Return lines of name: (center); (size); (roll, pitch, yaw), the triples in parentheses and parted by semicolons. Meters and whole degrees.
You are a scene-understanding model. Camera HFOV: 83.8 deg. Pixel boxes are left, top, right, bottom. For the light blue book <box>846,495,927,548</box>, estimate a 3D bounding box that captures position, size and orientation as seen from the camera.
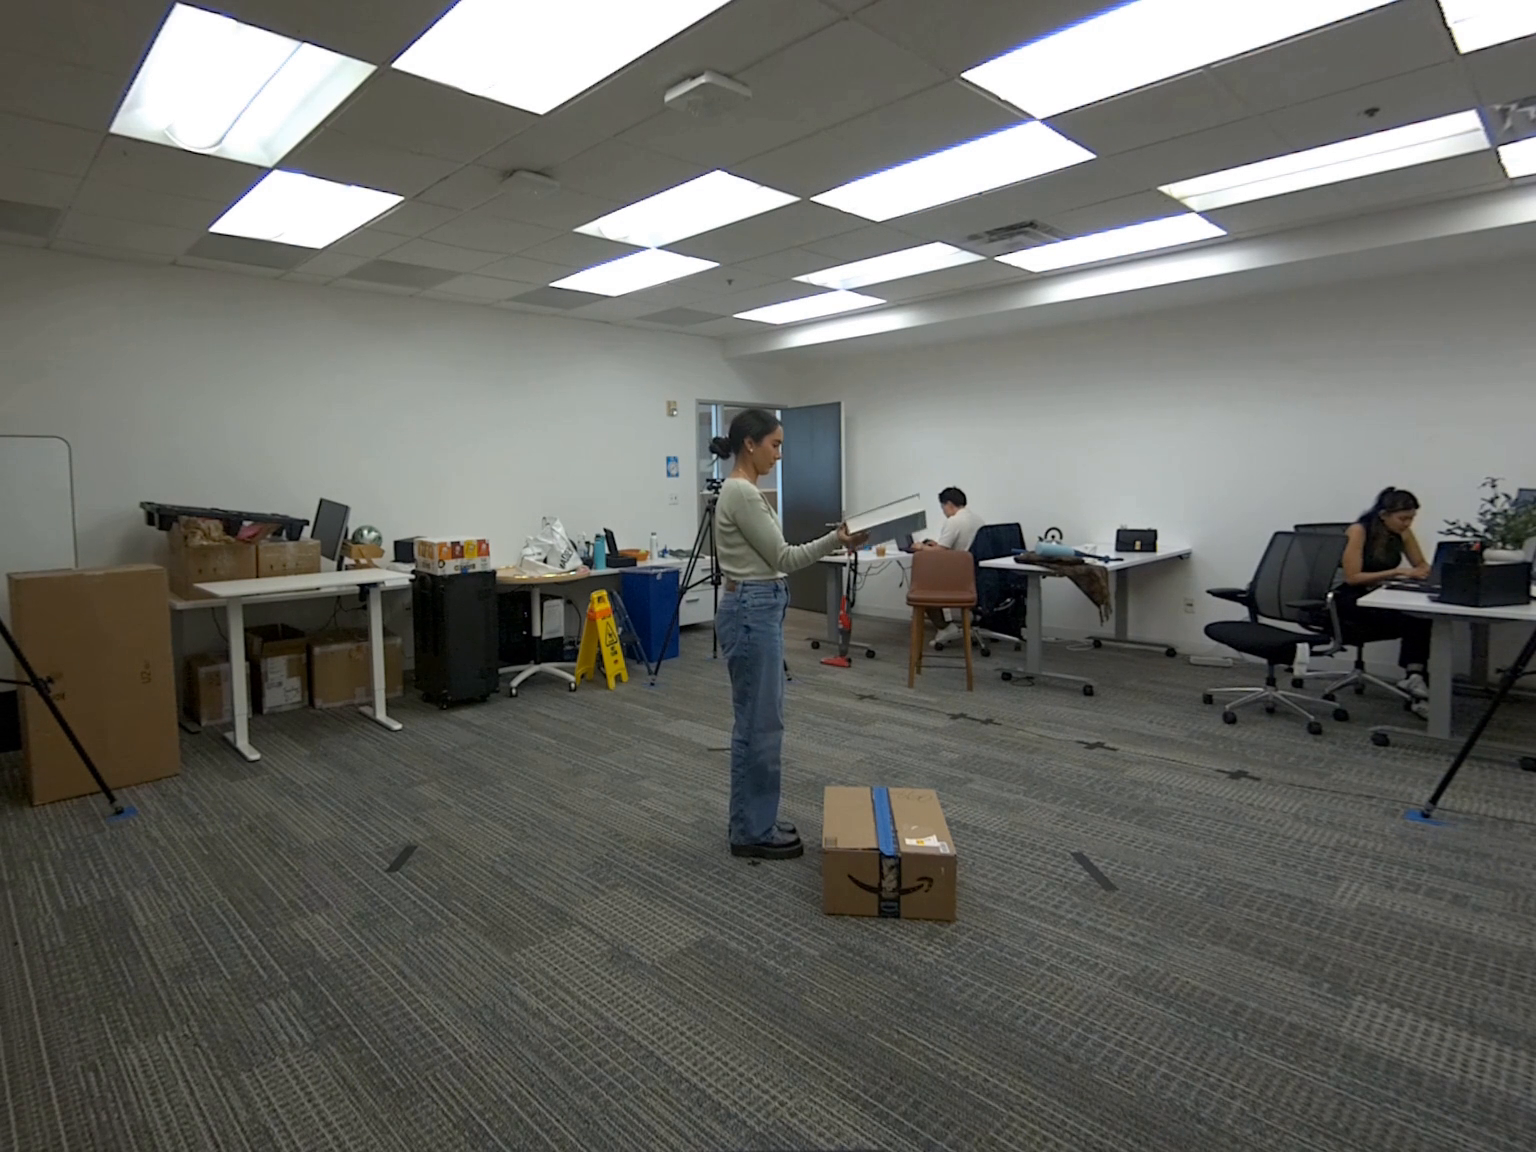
light blue book: (0.404, -0.176, 2.925); (0.262, 0.060, 0.186); (-17, -23, 8)
